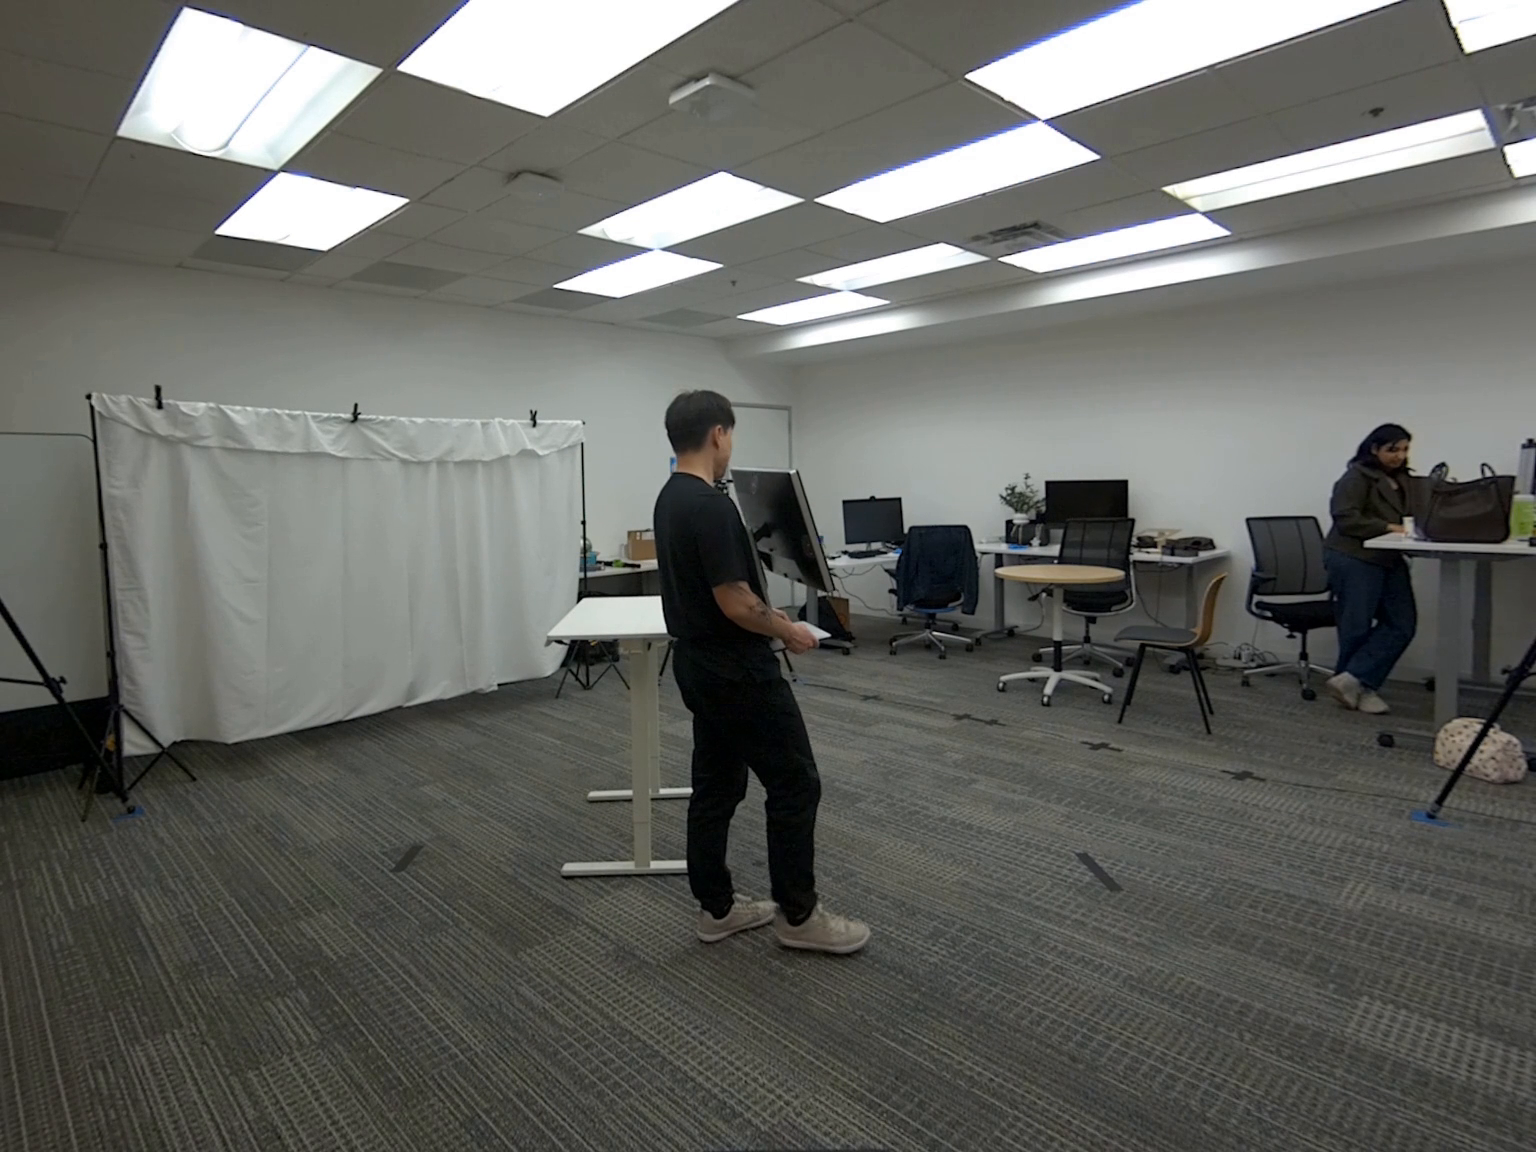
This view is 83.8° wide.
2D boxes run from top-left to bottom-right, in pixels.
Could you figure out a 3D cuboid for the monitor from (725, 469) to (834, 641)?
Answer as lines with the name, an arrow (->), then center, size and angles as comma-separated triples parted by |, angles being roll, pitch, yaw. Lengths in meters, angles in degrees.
monitor -> 0.018, -0.067, 2.641 | 0.184, 0.518, 0.552 | -10, 10, -20
